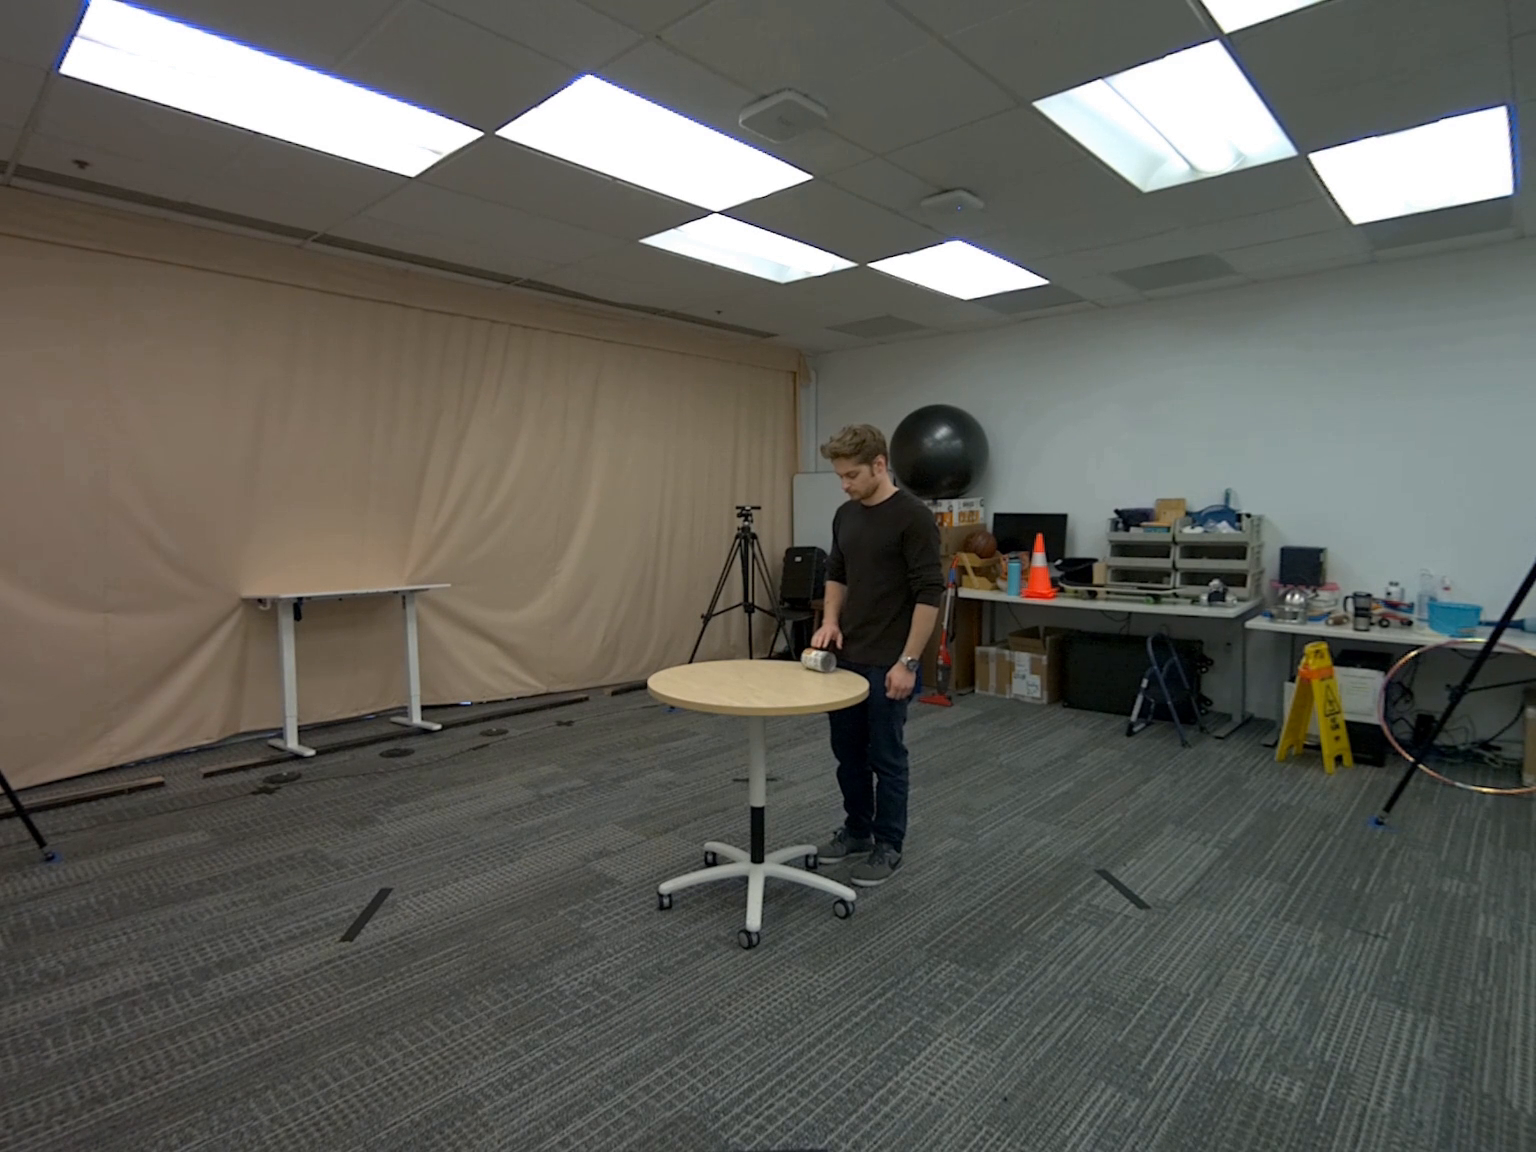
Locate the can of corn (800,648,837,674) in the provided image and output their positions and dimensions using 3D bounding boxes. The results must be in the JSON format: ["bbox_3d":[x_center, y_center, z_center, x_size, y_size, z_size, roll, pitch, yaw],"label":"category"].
[{"bbox_3d":[0.177,0.311,3.101,0.072,0.074,0.114,-2,7,-31],"label":"can of corn"}]
